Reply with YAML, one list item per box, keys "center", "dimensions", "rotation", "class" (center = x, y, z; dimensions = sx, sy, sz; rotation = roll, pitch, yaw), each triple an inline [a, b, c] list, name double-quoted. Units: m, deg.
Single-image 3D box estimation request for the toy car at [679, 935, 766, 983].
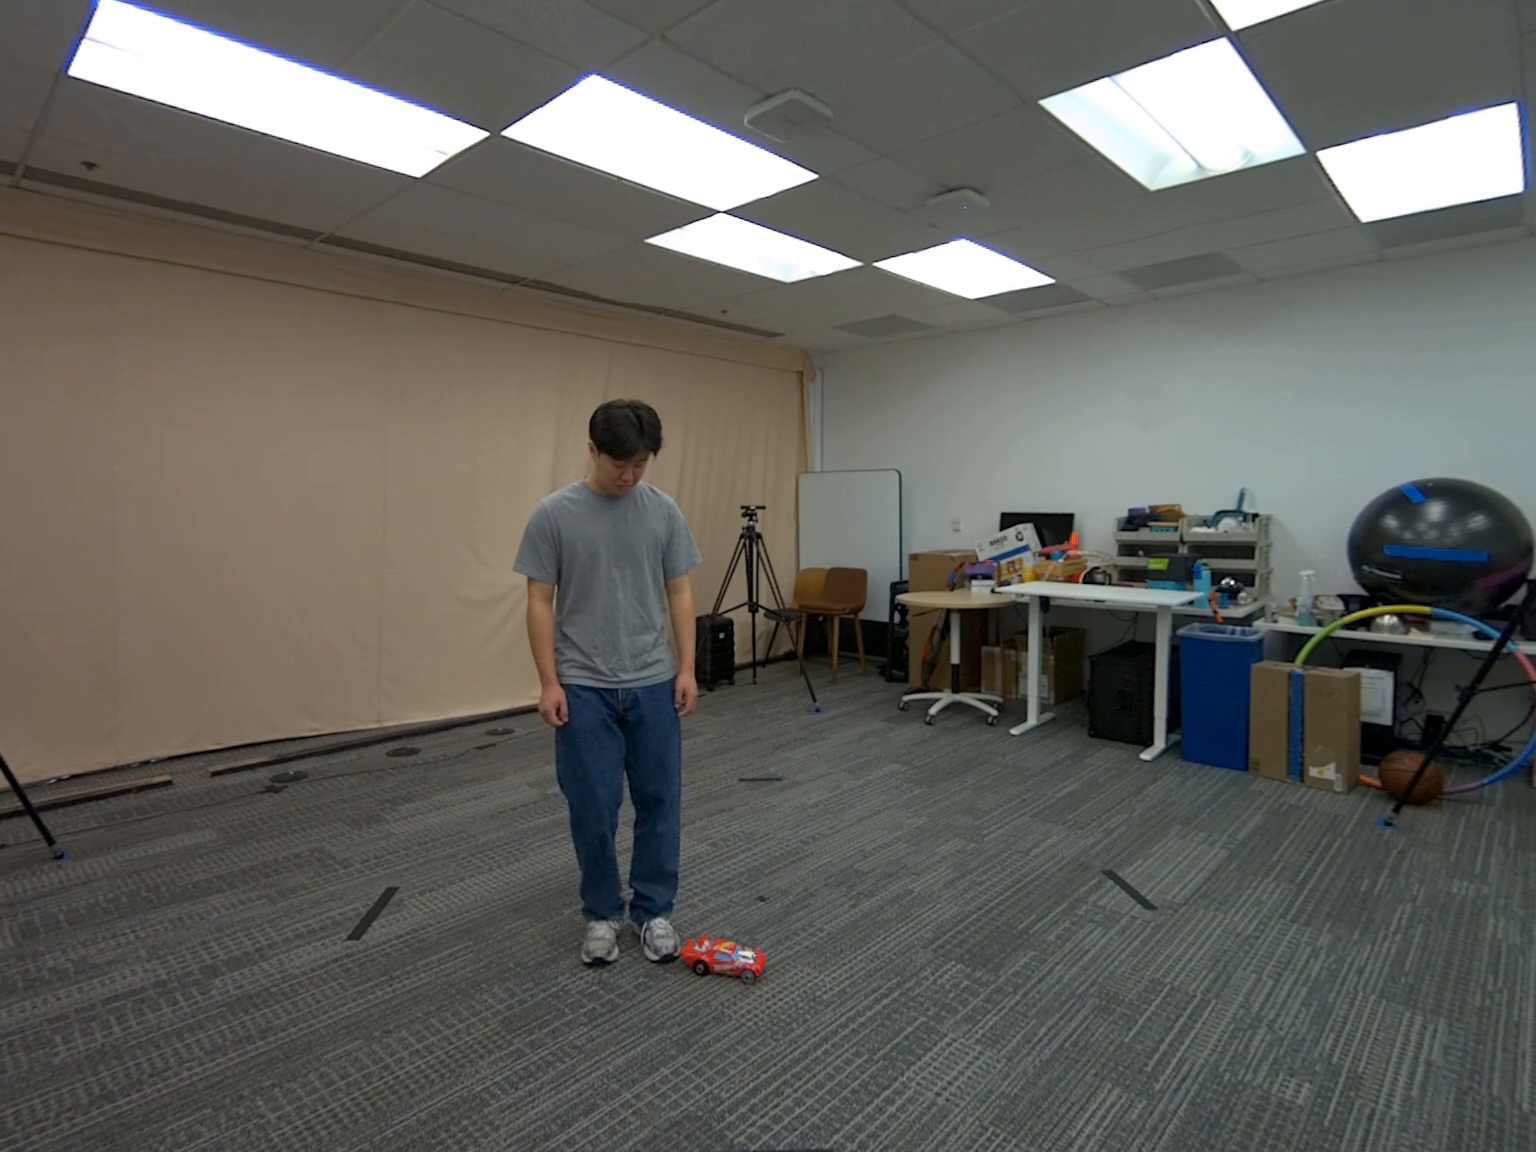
- center: [-0.135, 1.153, 2.521]
  dimensions: [0.259, 0.083, 0.128]
  rotation: [12, 9, 14]
  class: "toy car"
